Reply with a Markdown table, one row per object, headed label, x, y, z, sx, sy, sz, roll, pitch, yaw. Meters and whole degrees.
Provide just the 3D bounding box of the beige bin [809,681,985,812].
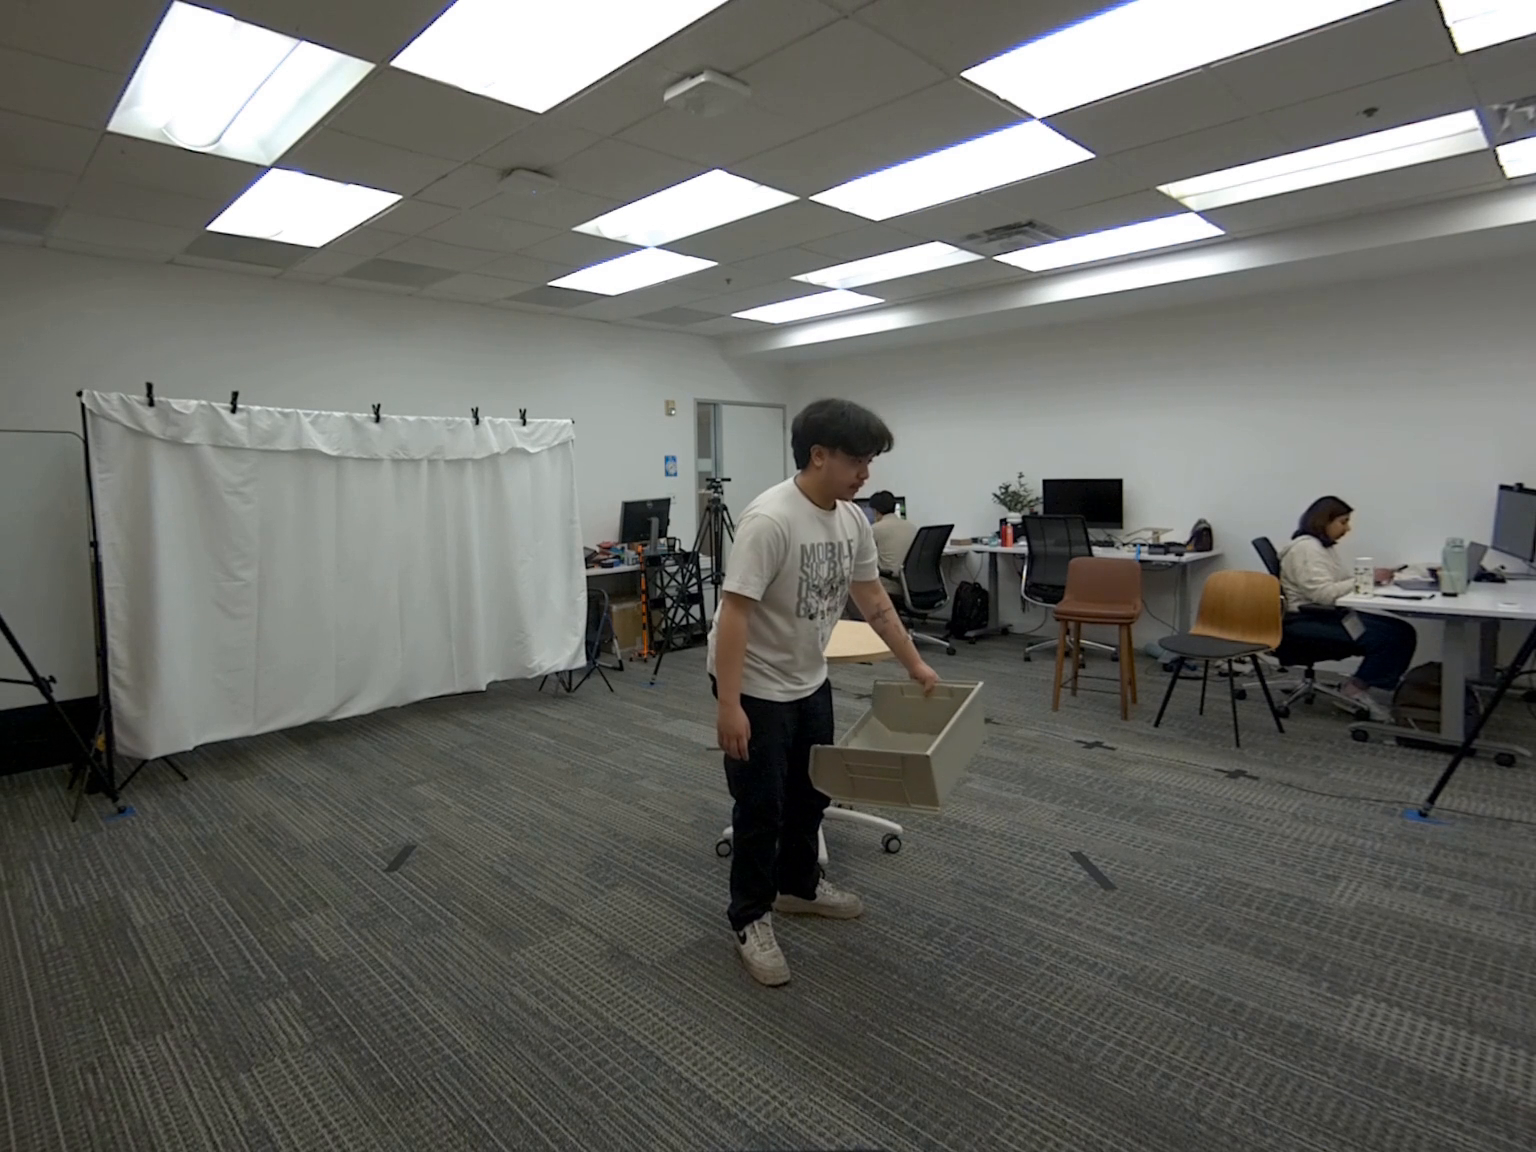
| label | x | y | z | sx | sy | sz | roll | pitch | yaw |
| --- | --- | --- | --- | --- | --- | --- | --- | --- | --- |
| beige bin | 0.364 | 0.473 | 2.422 | 0.387 | 0.186 | 0.417 | -2 | 17 | 35 |
